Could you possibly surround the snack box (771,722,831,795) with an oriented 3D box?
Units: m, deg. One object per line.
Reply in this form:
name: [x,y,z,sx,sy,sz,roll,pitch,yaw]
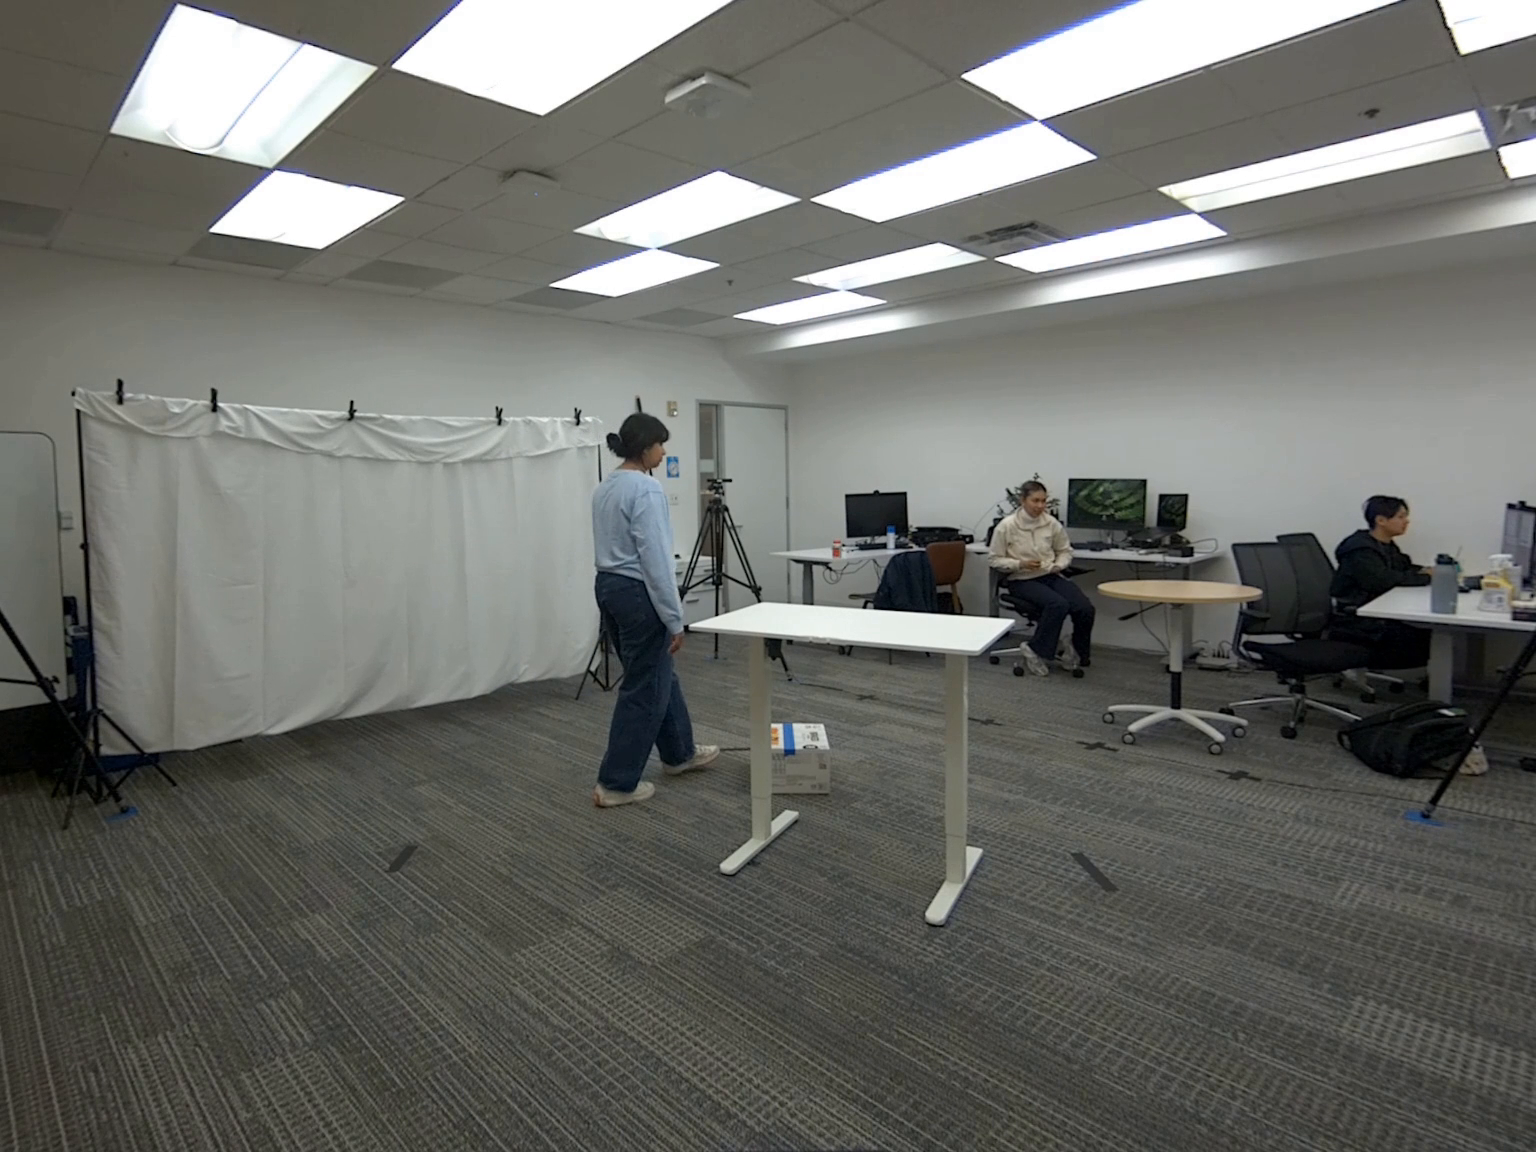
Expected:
snack box: [0.098,0.839,3.966,0.341,0.205,0.406,-1,5,1]
